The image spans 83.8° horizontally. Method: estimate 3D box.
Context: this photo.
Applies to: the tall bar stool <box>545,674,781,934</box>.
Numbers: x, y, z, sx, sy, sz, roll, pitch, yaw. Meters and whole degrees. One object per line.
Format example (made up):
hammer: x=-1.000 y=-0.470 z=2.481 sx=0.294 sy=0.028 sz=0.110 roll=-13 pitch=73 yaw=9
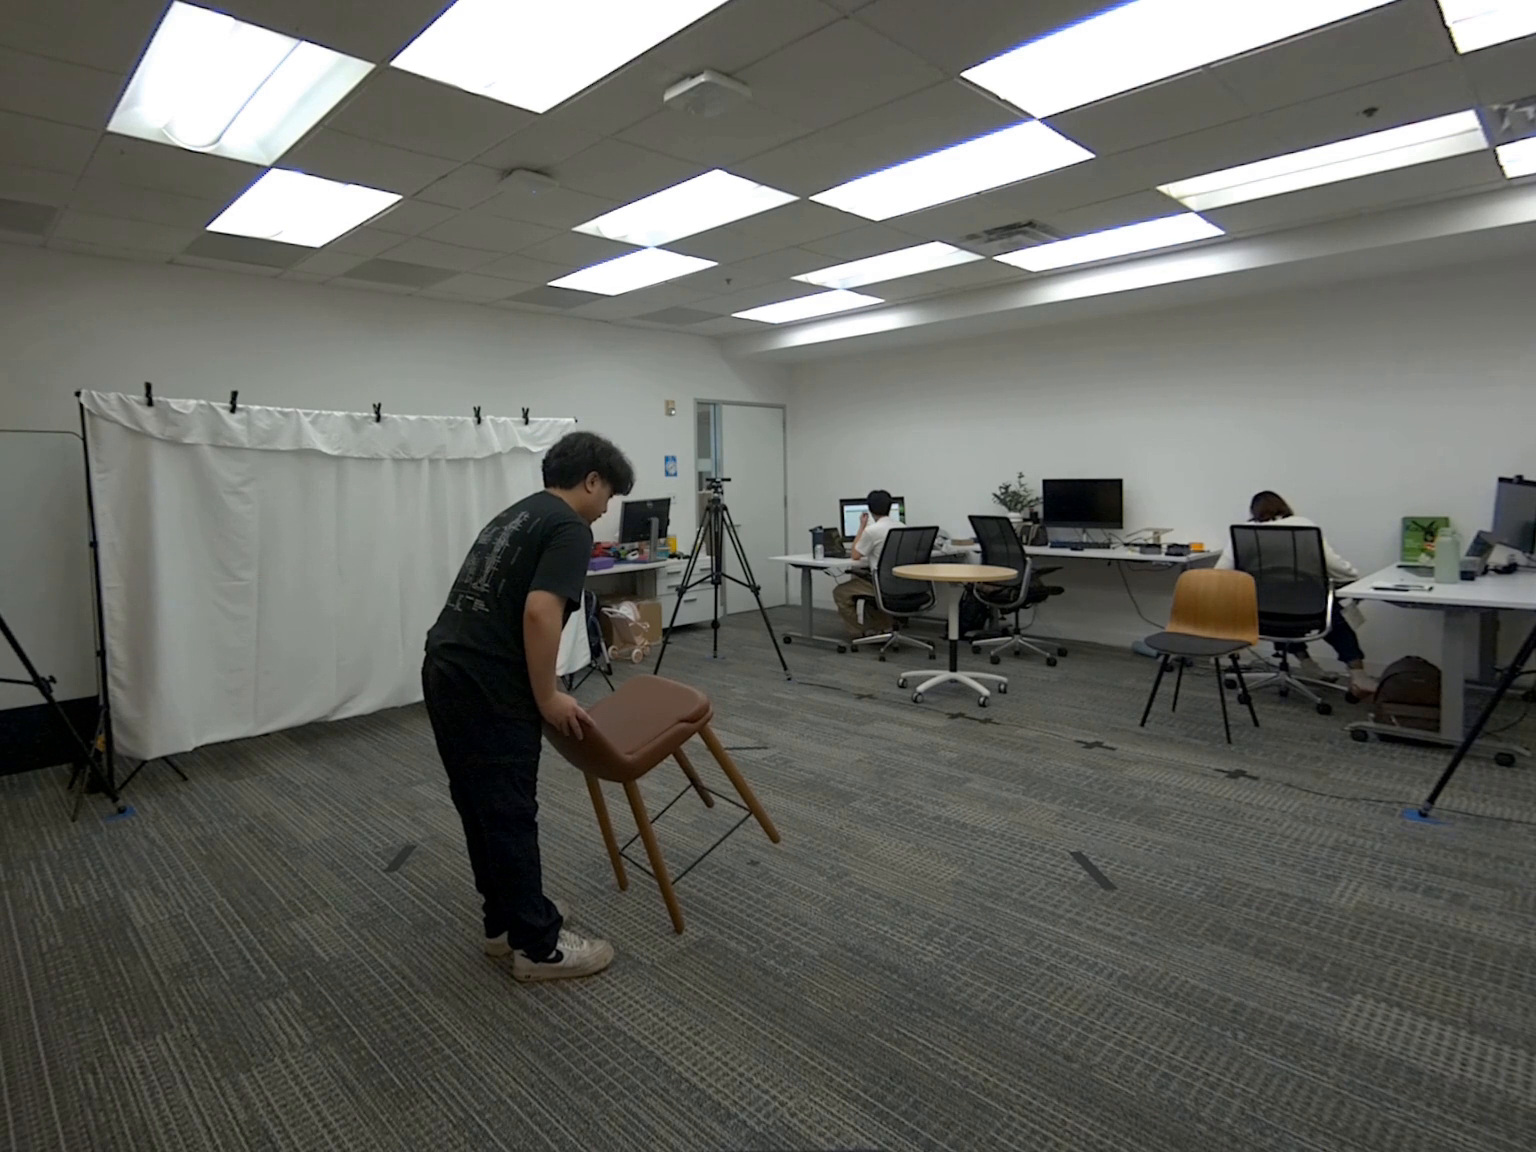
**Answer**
tall bar stool: x=-0.391 y=0.606 z=2.750 sx=0.464 sy=0.869 sz=0.470 roll=-36 pitch=24 yaw=-29
